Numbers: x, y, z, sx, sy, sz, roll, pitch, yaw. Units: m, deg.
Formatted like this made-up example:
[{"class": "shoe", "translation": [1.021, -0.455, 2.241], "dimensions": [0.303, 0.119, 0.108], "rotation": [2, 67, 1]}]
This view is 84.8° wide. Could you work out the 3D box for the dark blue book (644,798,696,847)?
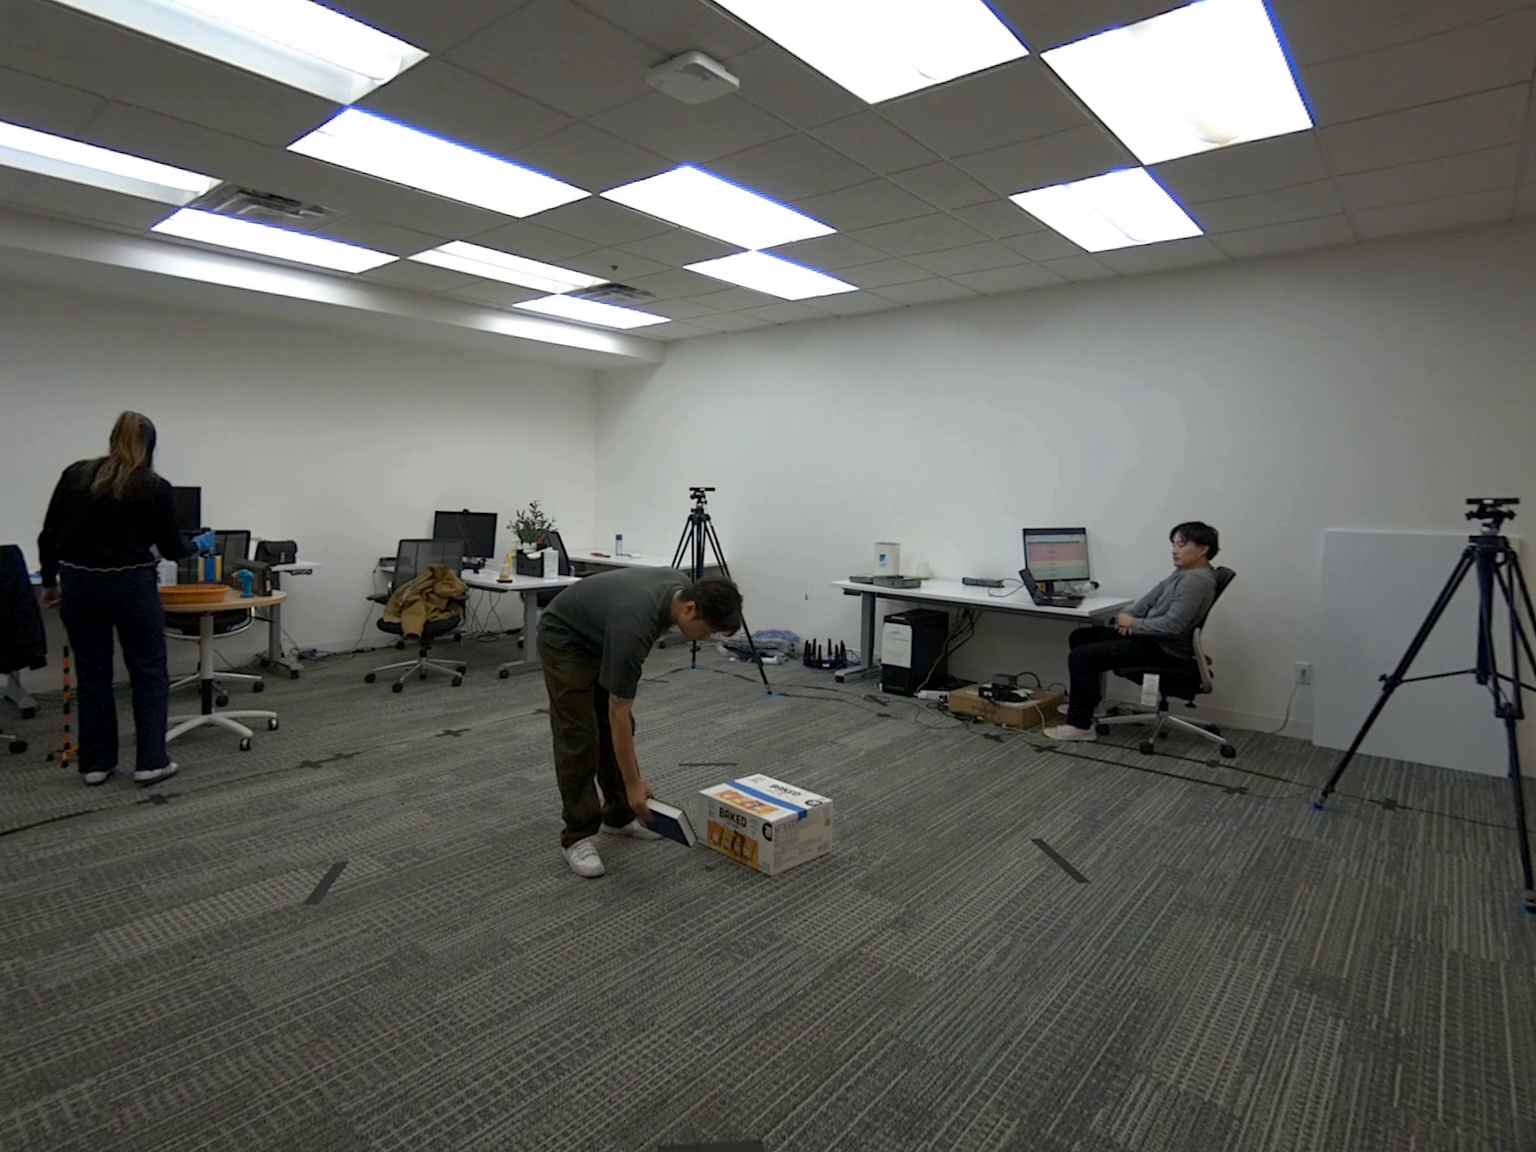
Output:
[{"class": "dark blue book", "translation": [-0.390, 0.862, 3.029], "dimensions": [0.254, 0.158, 0.045], "rotation": [9, 41, 37]}]
